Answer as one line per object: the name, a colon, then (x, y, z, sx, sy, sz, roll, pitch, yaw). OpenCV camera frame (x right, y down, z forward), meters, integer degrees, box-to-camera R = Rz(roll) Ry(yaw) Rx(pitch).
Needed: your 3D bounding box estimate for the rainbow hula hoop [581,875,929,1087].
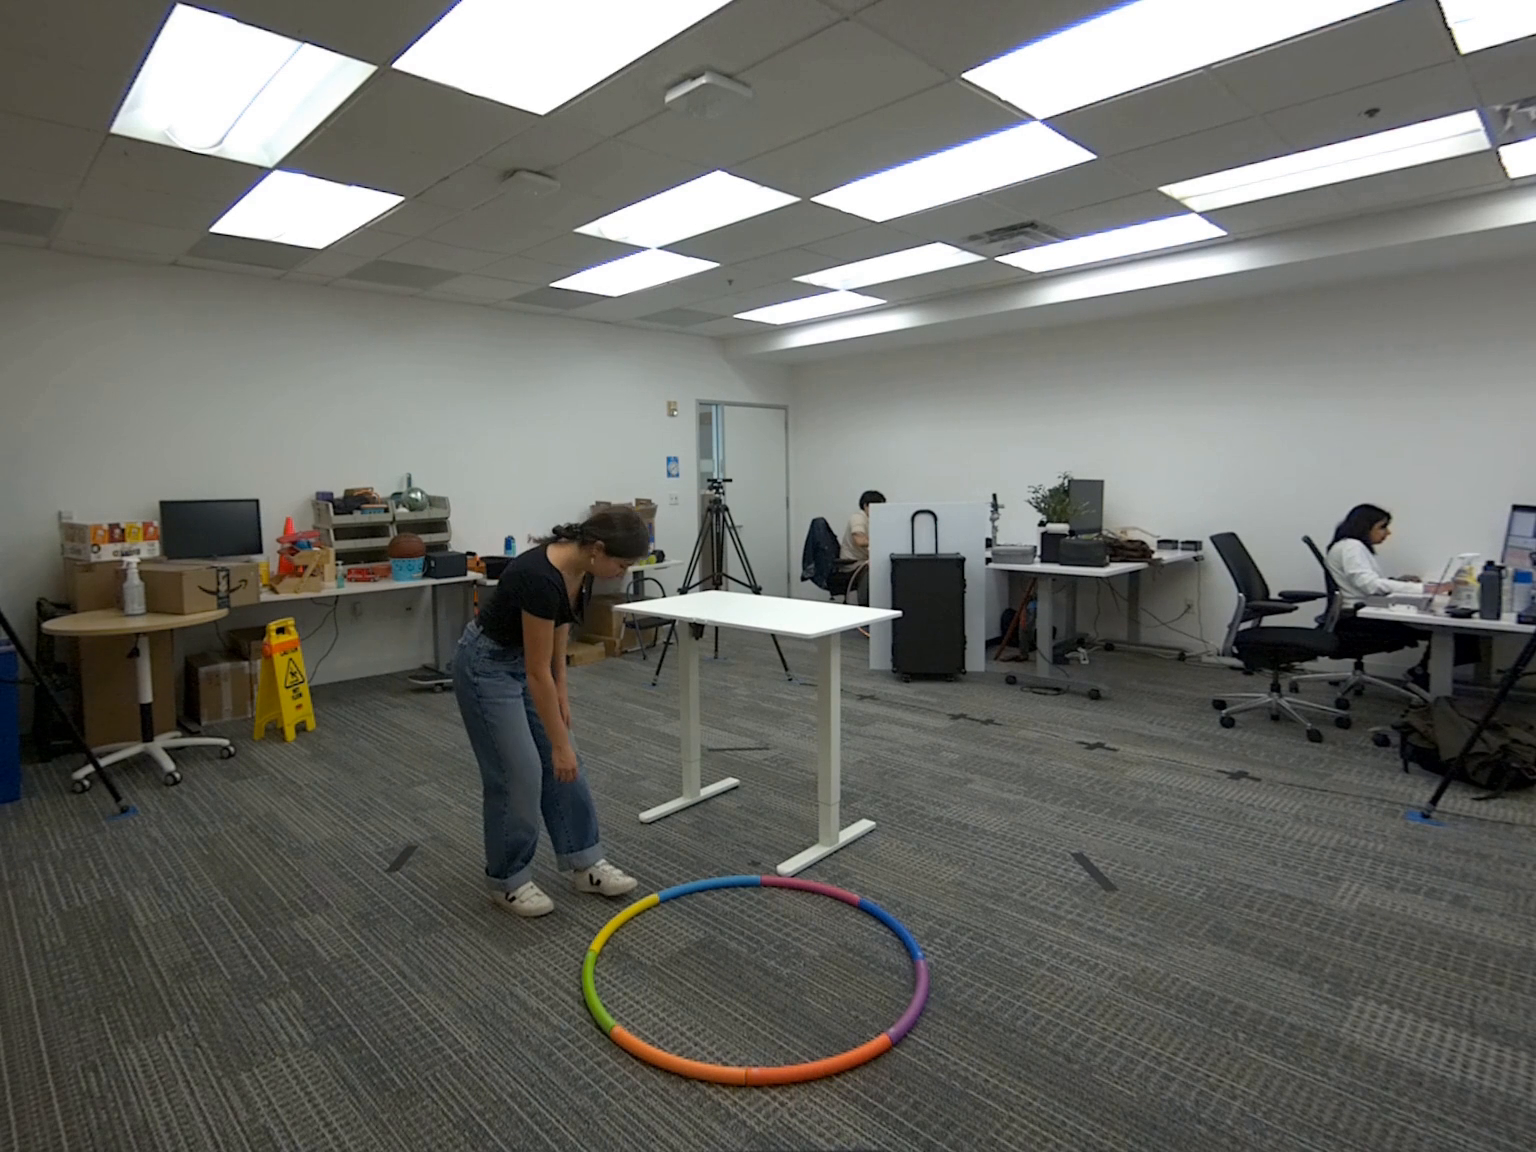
rainbow hula hoop: (-0.036, 1.091, 2.468, 0.978, 0.035, 0.984, -1, 7, -2)
